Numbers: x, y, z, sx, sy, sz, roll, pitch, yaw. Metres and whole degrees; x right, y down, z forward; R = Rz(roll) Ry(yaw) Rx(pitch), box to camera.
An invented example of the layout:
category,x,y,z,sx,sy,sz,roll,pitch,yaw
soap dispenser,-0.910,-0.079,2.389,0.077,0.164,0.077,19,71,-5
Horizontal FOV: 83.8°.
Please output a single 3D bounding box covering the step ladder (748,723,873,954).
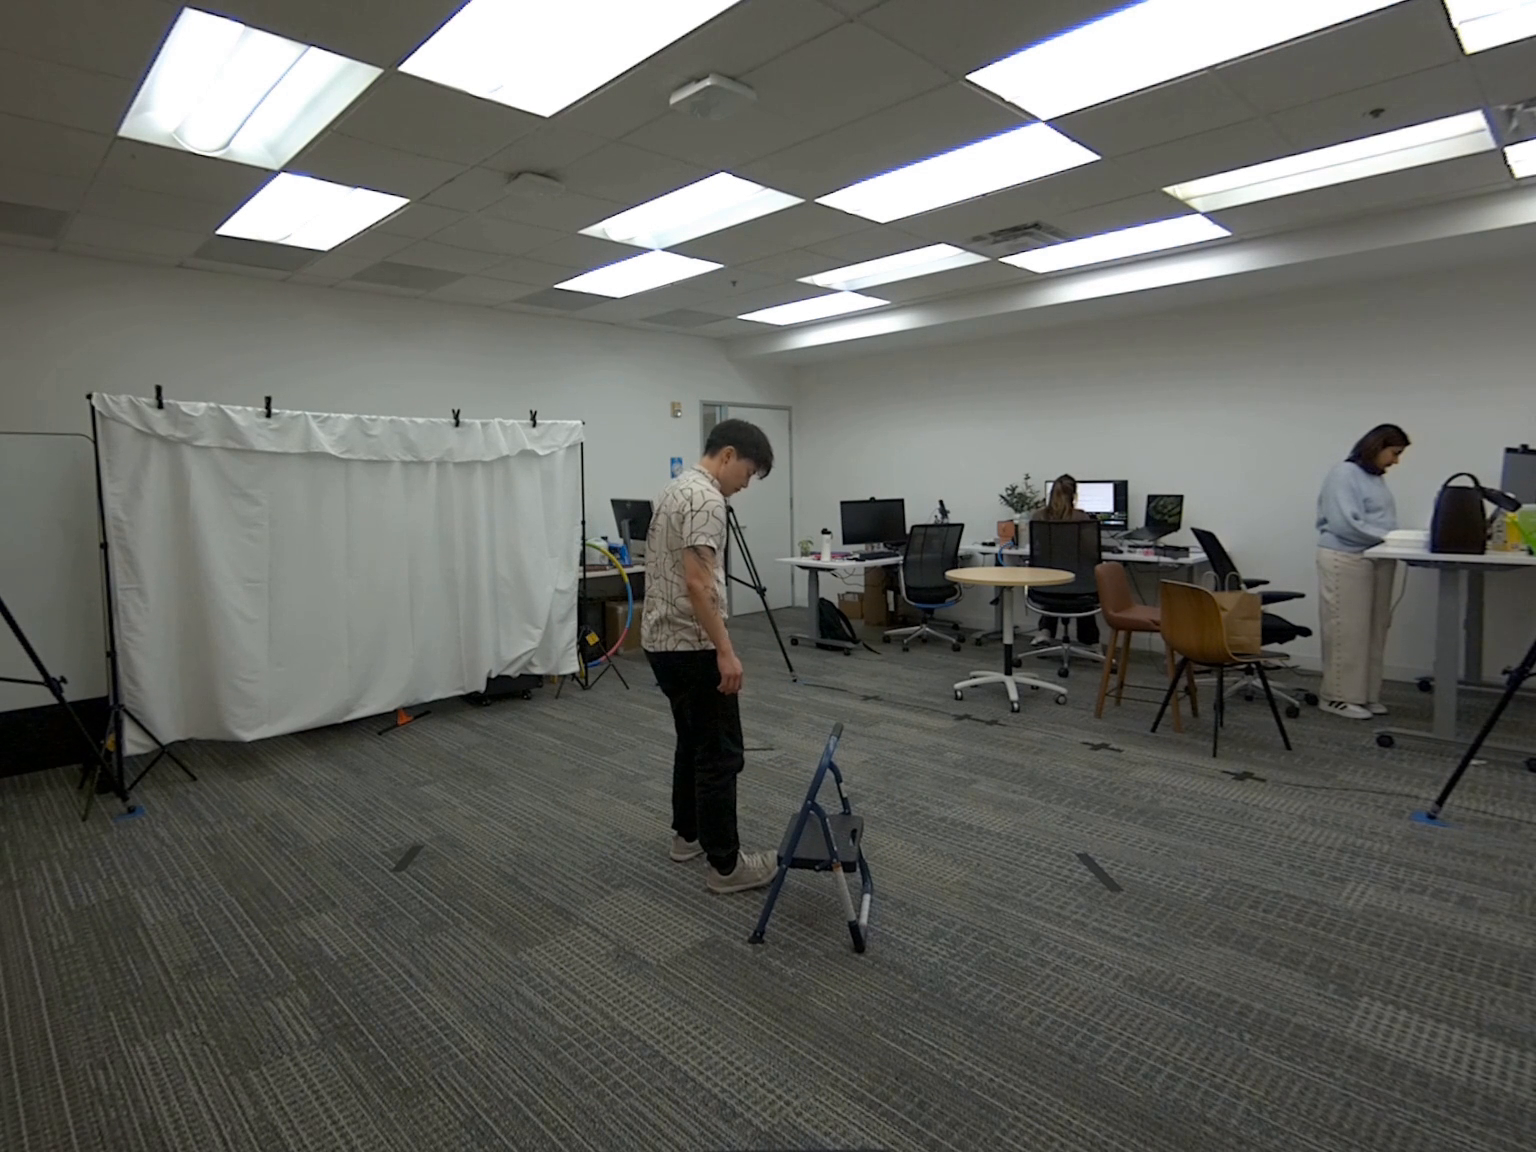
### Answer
category,x,y,z,sx,sy,sz,roll,pitch,yaw
step ladder,0.155,0.787,2.720,0.353,0.603,0.427,0,5,11
